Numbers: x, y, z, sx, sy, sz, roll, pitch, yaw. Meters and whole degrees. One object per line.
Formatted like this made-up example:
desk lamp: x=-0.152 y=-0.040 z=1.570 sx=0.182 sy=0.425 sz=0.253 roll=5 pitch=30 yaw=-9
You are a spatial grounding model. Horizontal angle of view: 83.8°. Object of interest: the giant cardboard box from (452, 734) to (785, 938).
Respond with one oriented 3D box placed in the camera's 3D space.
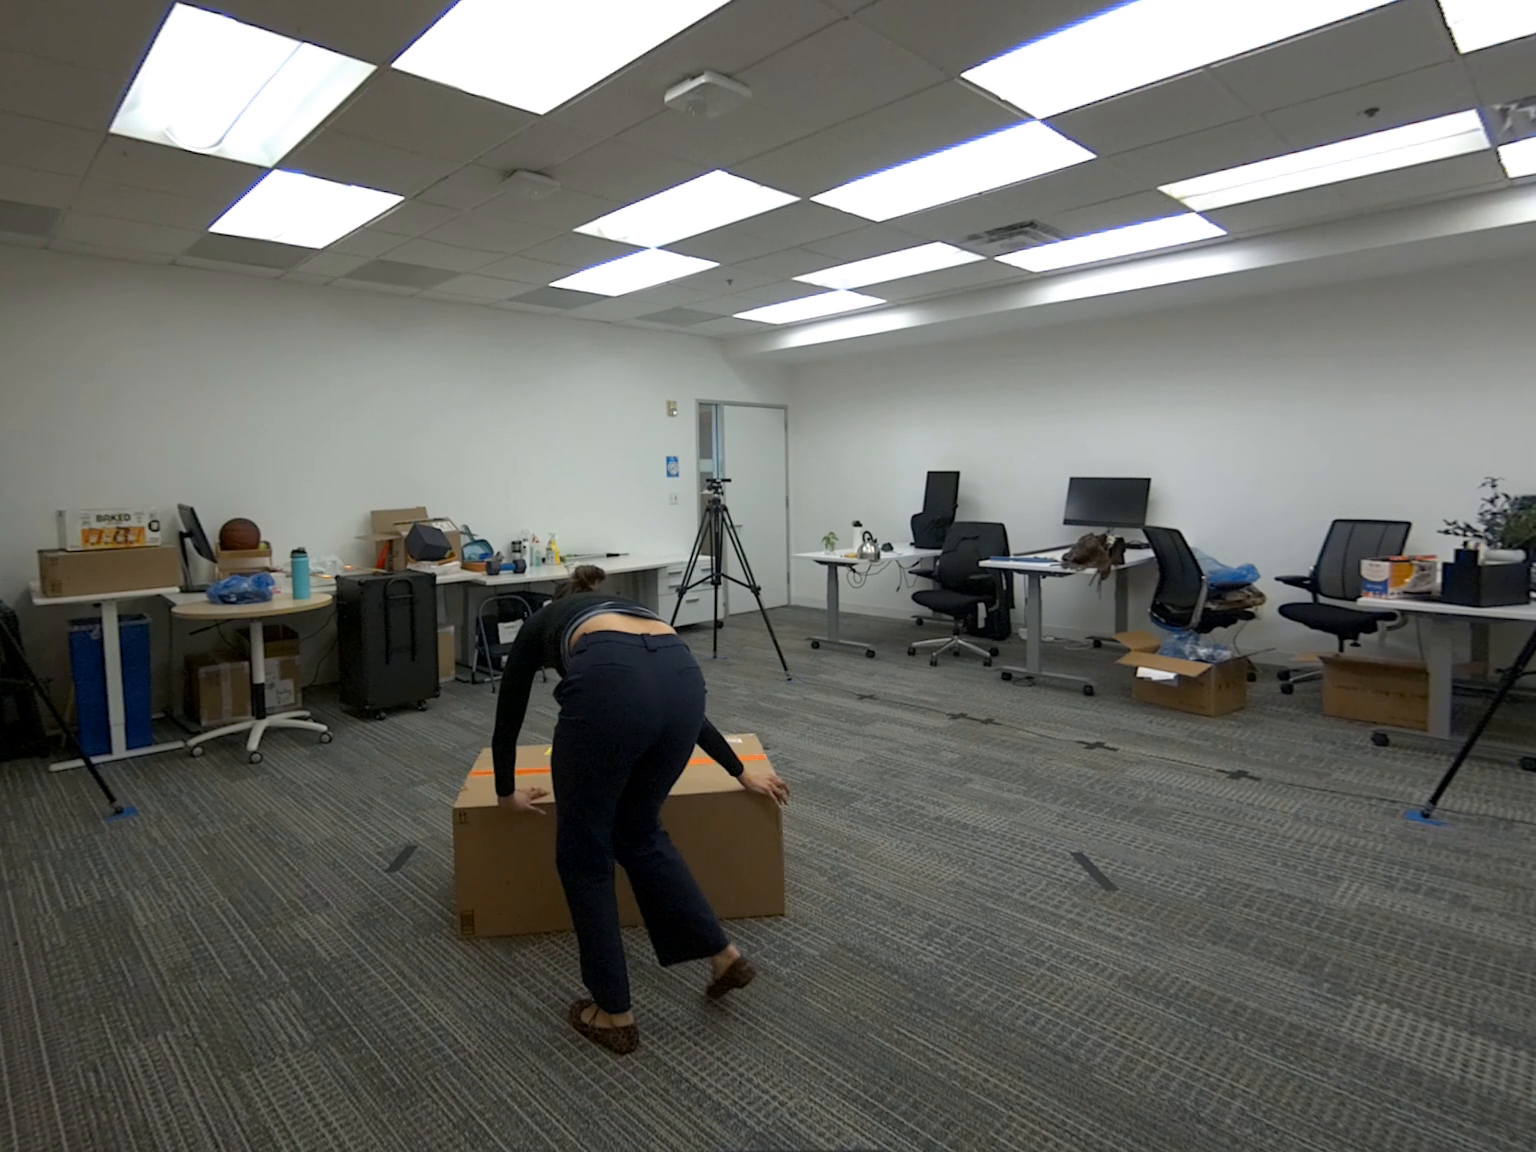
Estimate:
giant cardboard box: x=-0.502 y=0.856 z=2.944 sx=1.019 sy=0.424 sz=0.585 roll=-2 pitch=7 yaw=-7
